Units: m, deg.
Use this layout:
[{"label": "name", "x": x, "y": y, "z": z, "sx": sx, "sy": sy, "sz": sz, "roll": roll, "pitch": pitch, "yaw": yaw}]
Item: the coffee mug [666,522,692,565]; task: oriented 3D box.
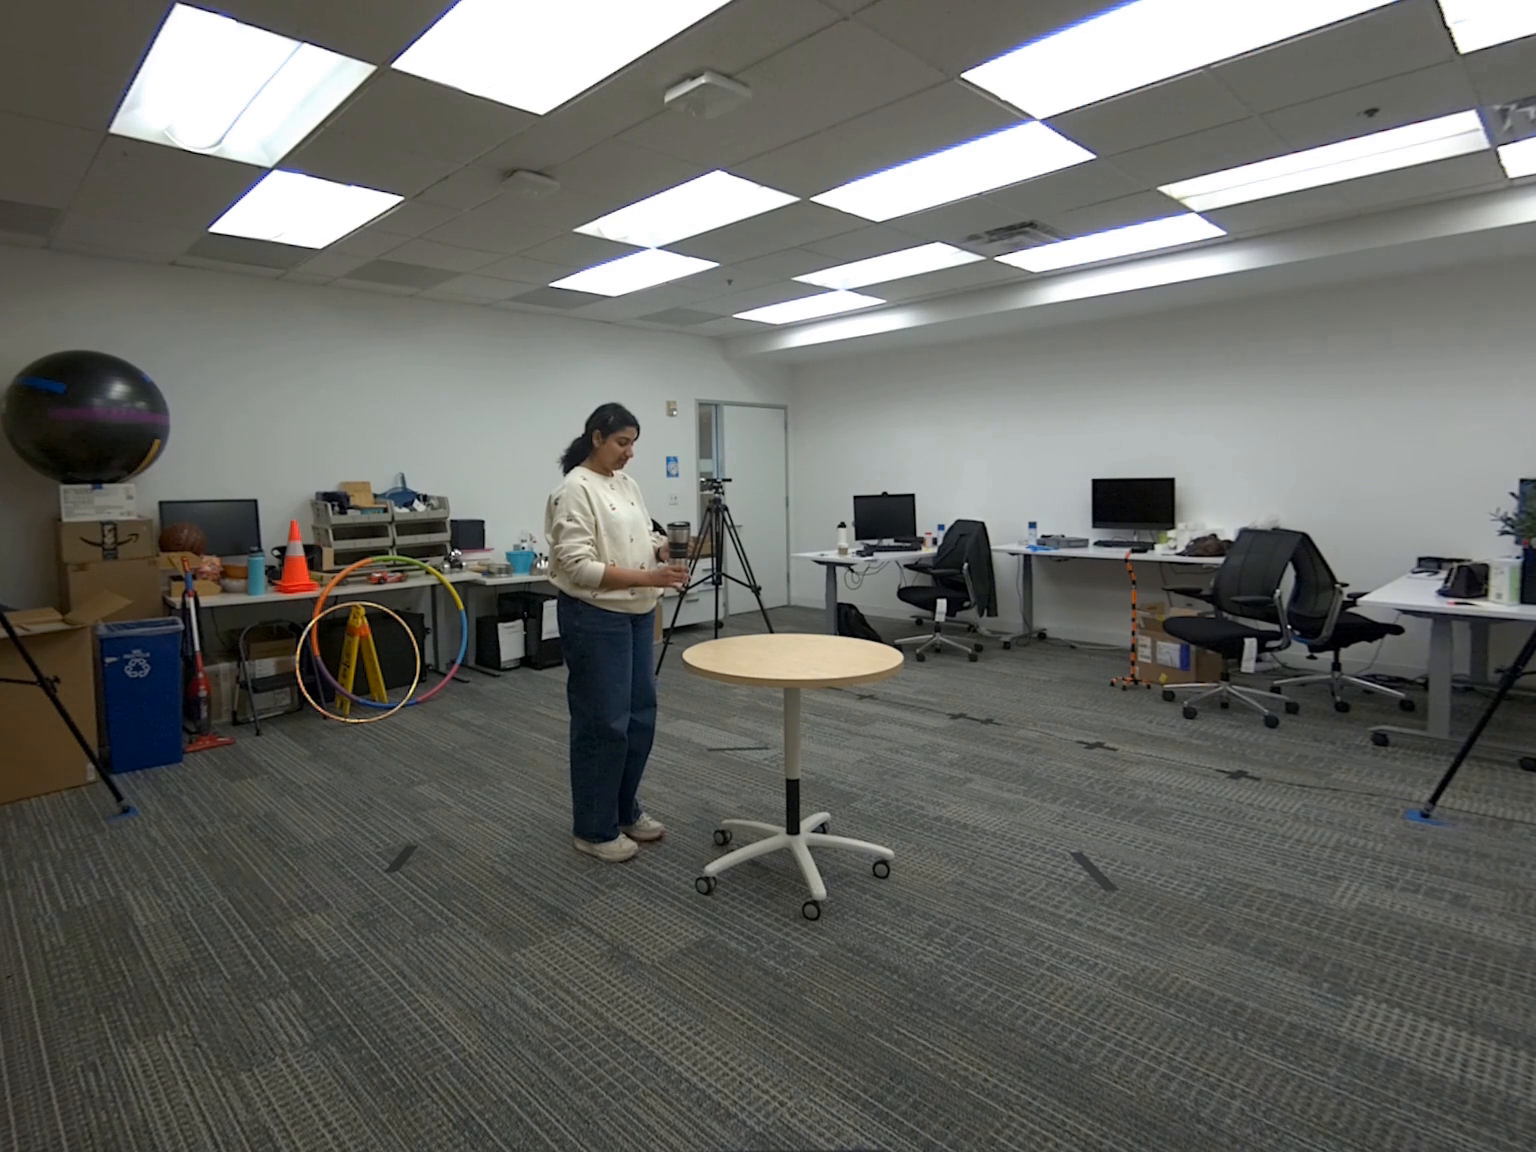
[{"label": "coffee mug", "x": -0.321, "y": -0.097, "z": 3.149, "sx": 0.090, "sy": 0.202, "sz": 0.119, "roll": 4, "pitch": 9, "yaw": 42}]
